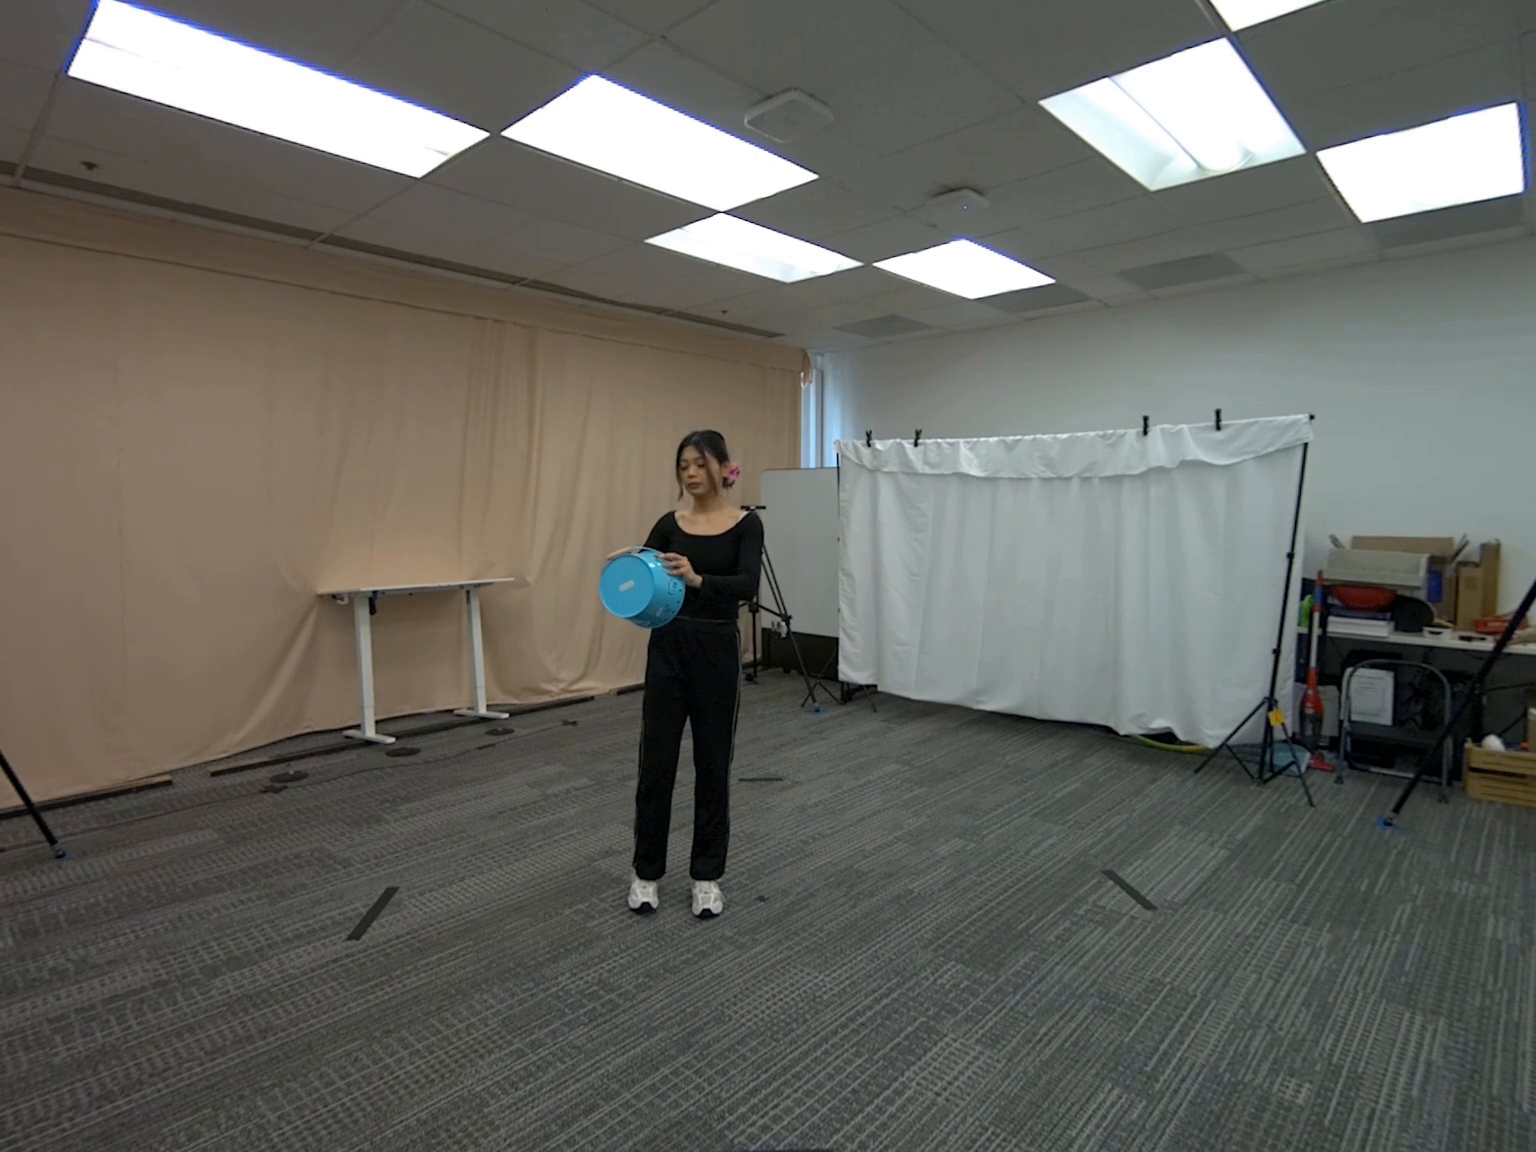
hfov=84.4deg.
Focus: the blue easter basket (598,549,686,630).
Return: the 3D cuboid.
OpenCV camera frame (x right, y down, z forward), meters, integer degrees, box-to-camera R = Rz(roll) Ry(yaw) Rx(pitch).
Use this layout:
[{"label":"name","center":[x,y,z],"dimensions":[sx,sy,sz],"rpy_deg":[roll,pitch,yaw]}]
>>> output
[{"label":"blue easter basket","center":[-0.372,0.036,2.488],"dimensions":[0.249,0.244,0.152],"rpy_deg":[1,-6,22]}]
